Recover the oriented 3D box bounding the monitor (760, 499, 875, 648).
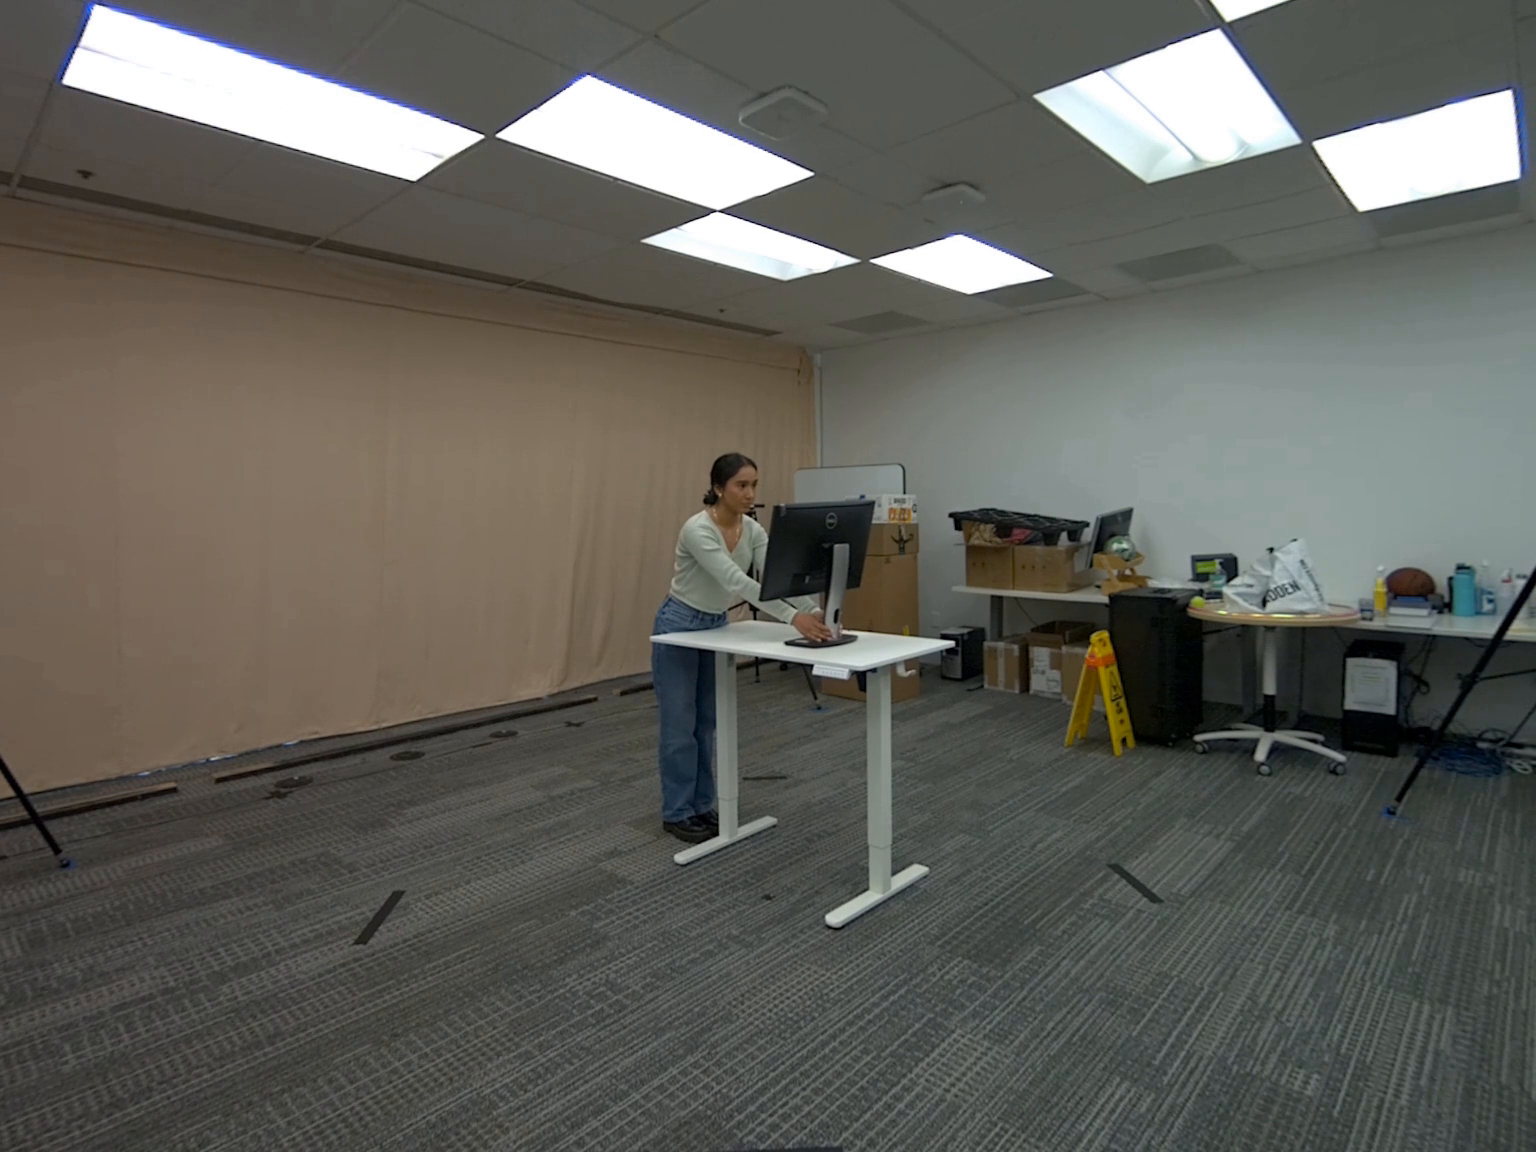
[{"bbox_3d":[0.212,-0.008,3.070,0.523,0.521,0.193,-5,7,-43],"label":"monitor"}]
